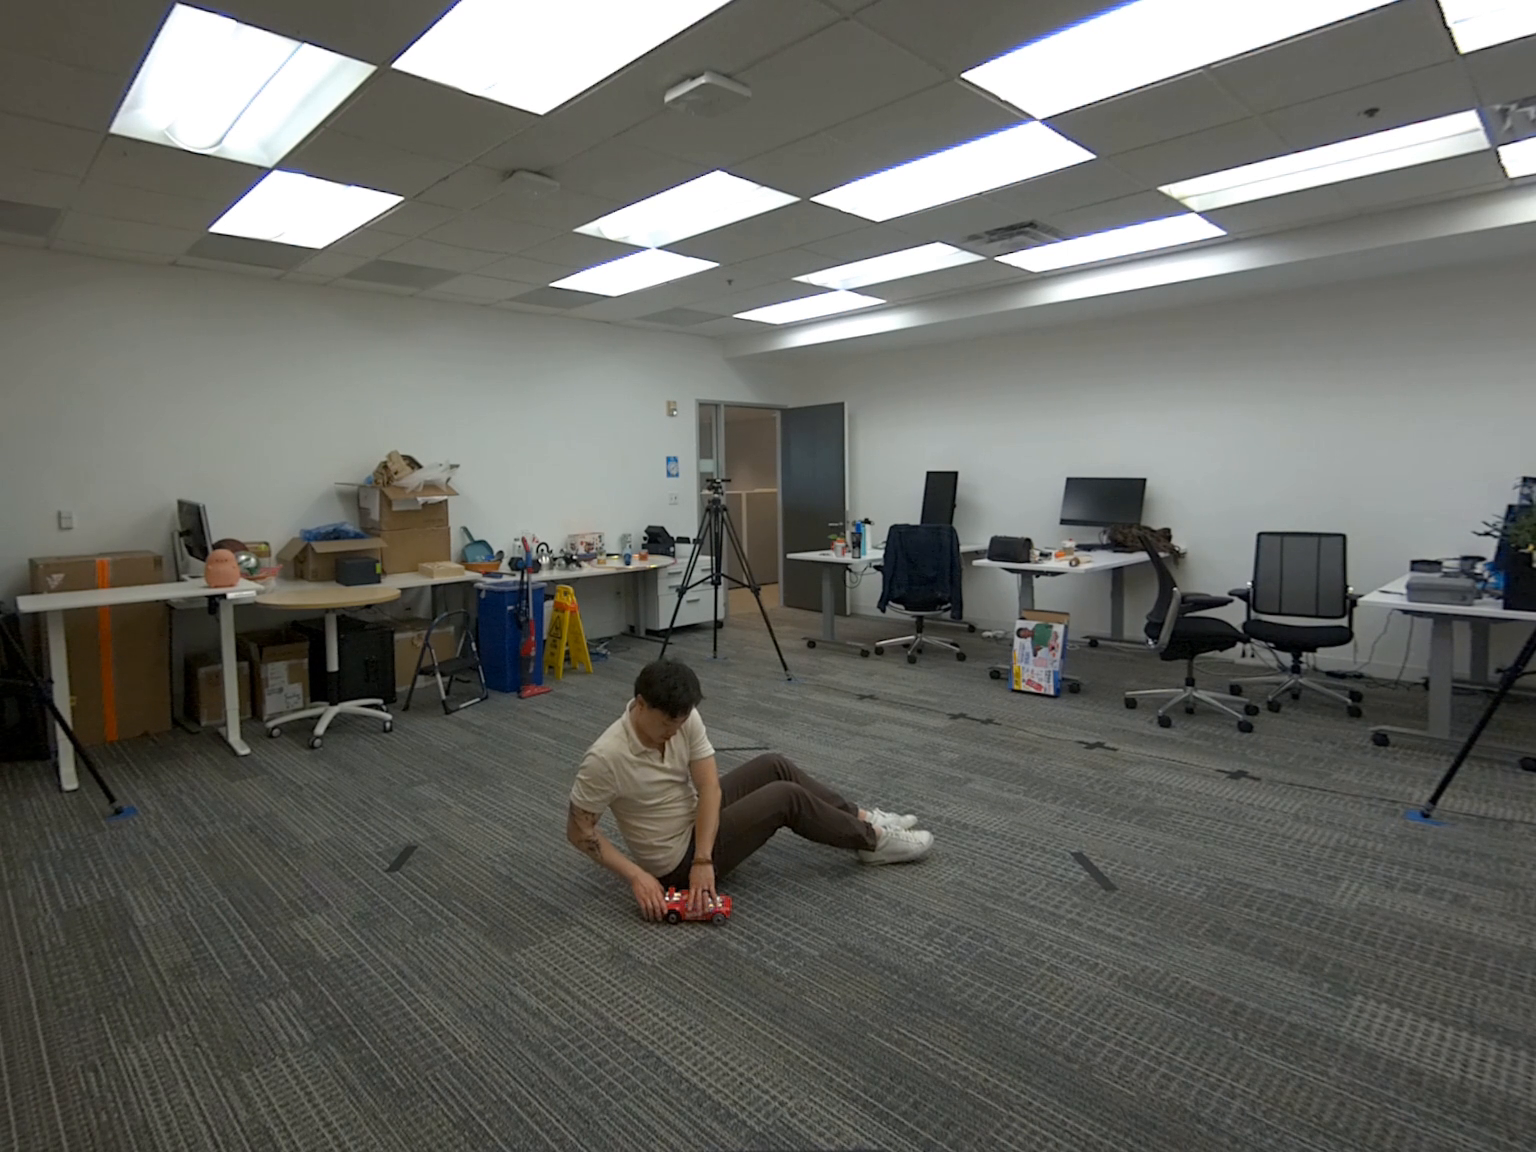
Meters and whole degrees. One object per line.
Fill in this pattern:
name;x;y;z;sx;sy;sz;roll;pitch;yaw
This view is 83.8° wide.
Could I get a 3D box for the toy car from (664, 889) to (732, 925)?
toy car;-0.256;1.065;2.740;0.255;0.083;0.130;8;7;3
